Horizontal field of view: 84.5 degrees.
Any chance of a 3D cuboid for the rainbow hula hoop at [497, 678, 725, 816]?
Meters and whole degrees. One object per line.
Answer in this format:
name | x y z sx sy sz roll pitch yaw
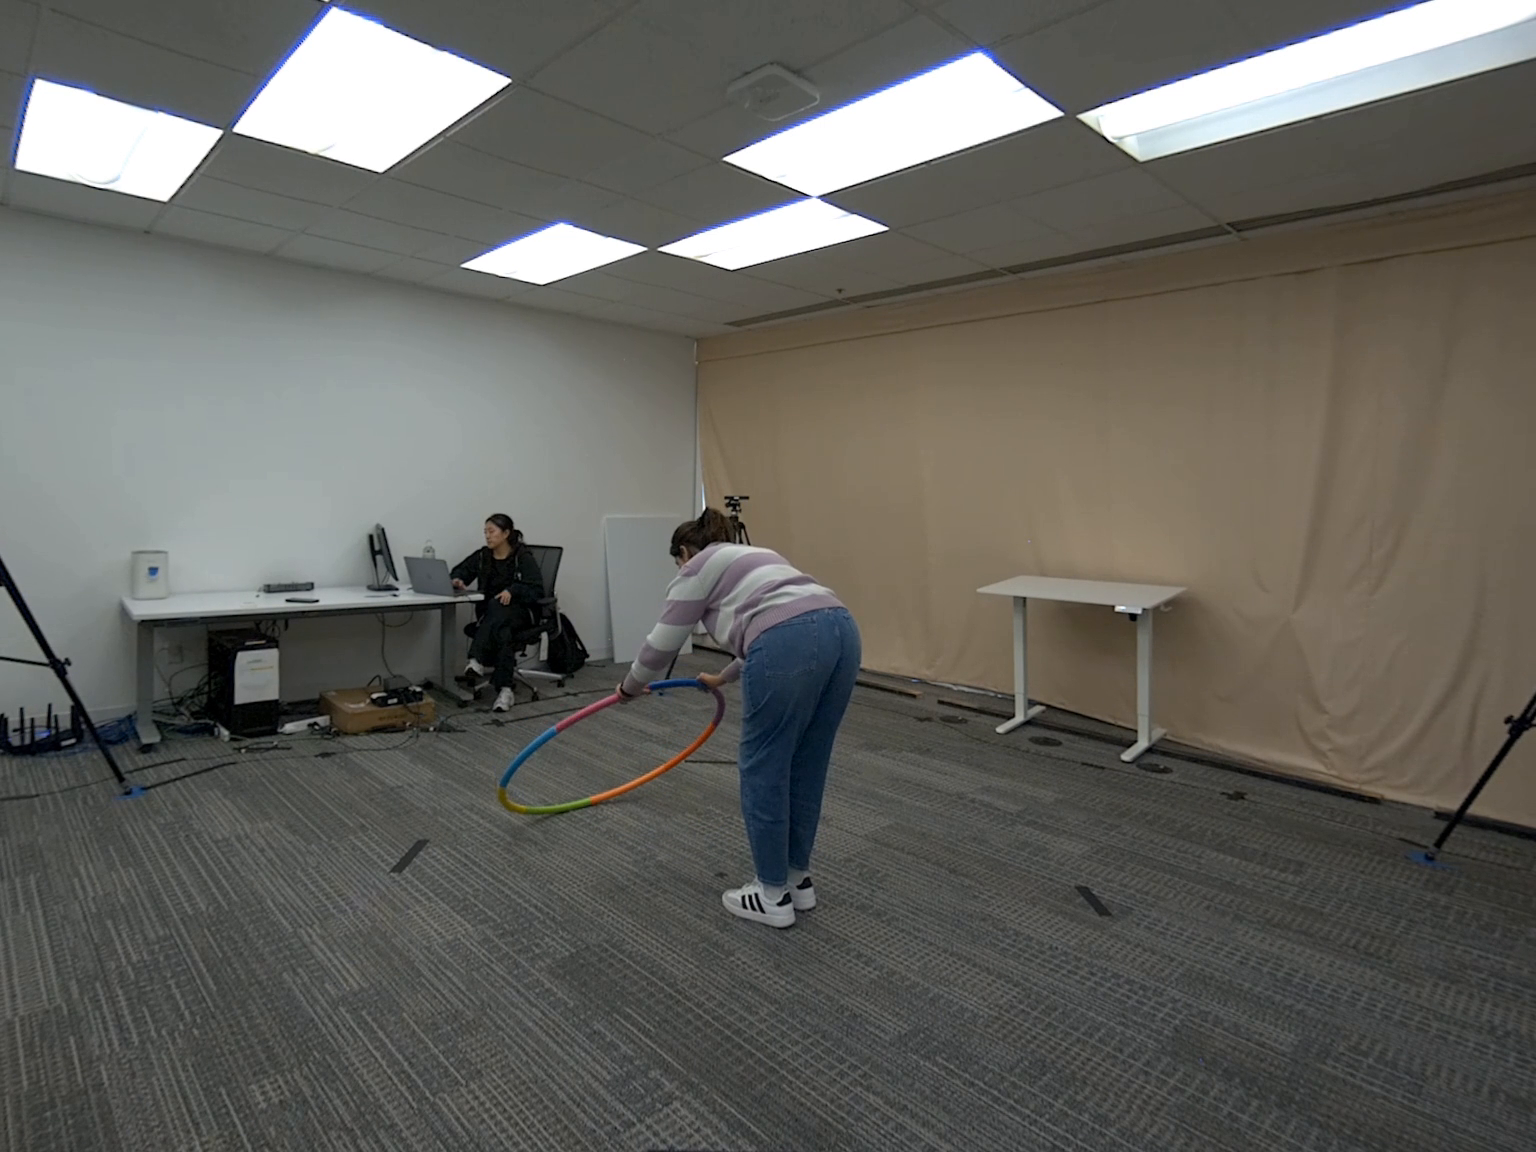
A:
rainbow hula hoop | -0.624 0.713 3.445 0.972 0.036 0.960 -22 -28 -15
